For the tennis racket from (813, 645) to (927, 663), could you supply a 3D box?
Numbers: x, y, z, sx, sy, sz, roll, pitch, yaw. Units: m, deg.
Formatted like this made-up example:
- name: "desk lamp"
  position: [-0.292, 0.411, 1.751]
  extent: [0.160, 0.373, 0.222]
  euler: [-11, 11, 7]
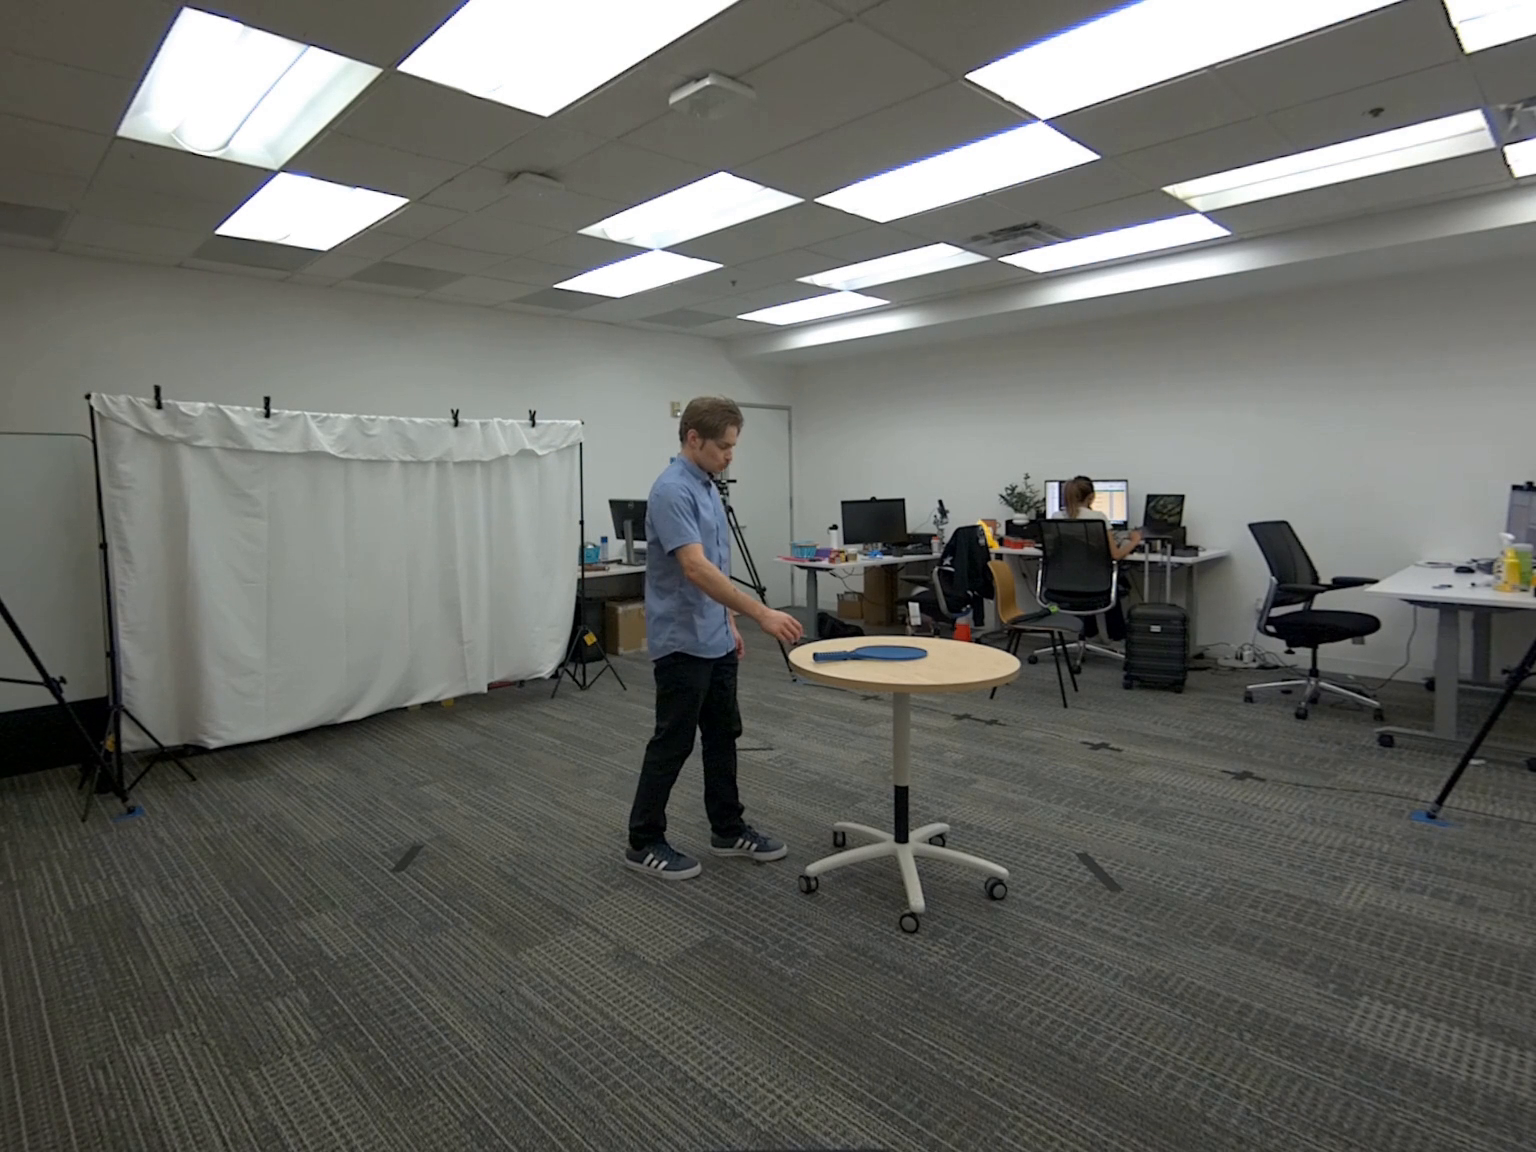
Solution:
- name: "tennis racket"
  position: [0.351, 0.264, 2.932]
  extent: [0.424, 0.031, 0.219]
  euler: [-1, 7, -23]
